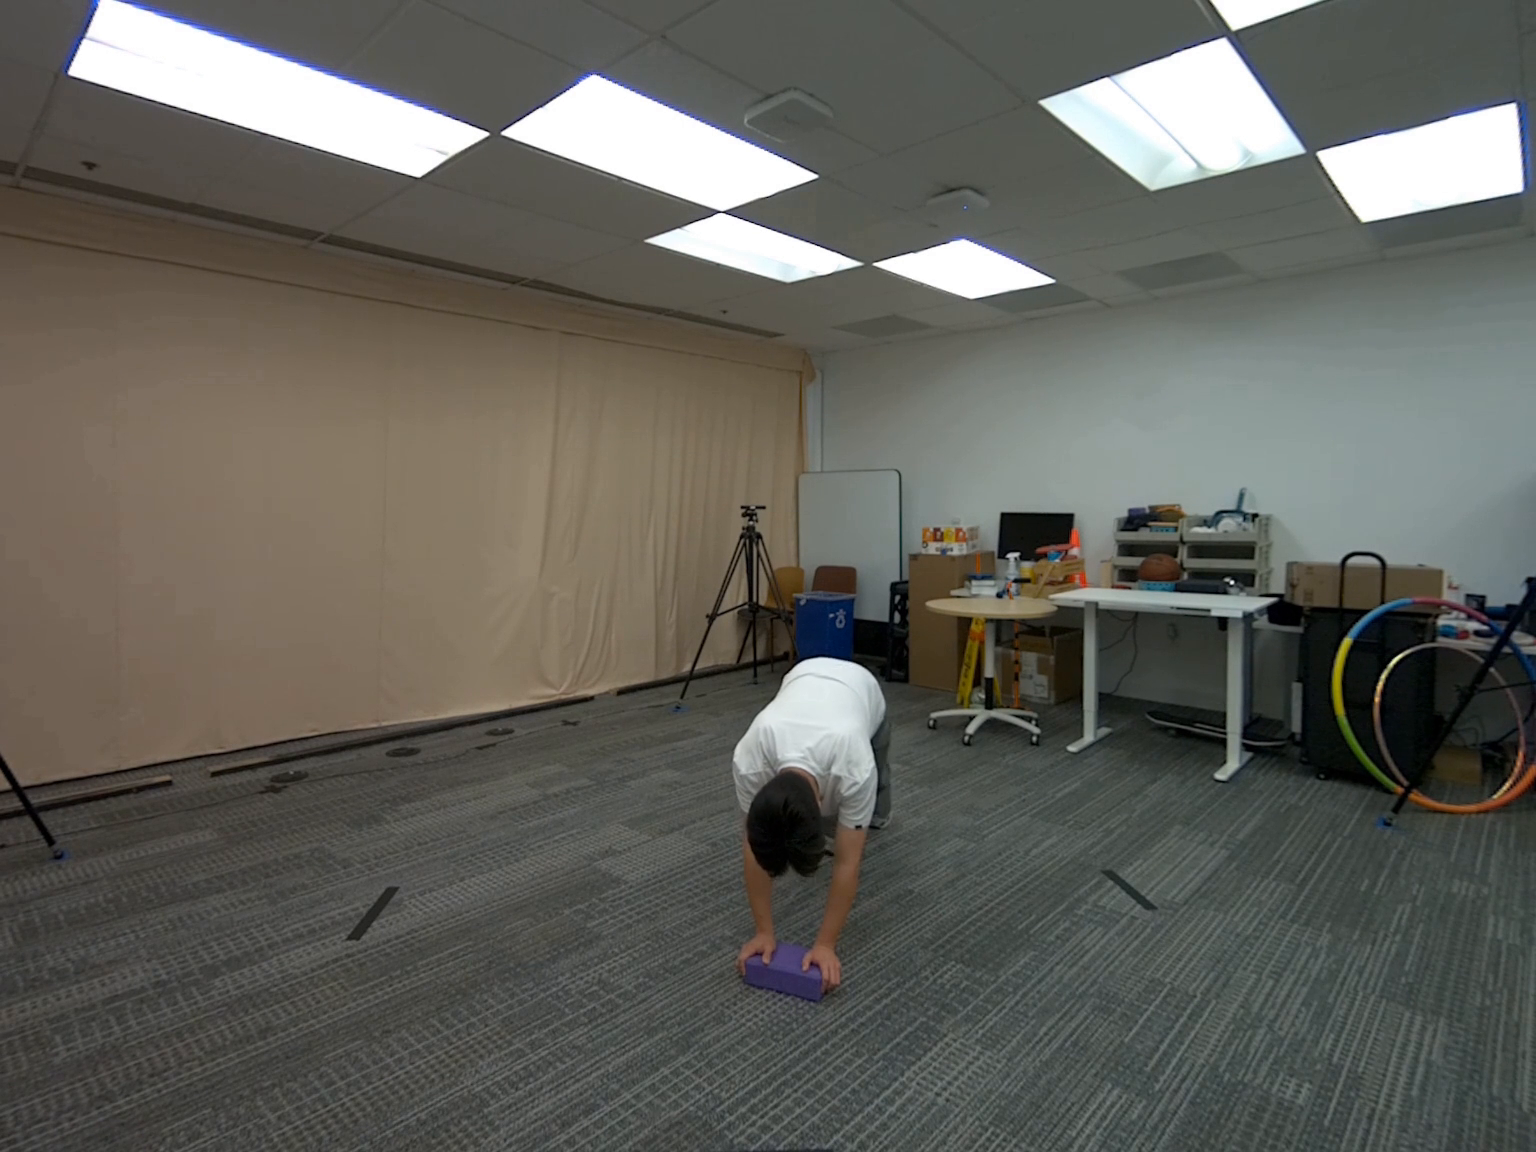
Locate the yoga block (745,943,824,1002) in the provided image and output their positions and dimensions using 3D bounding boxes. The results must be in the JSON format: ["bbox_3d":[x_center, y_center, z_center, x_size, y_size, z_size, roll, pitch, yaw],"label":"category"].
[{"bbox_3d":[0.073,1.155,2.463,0.235,0.076,0.146,3,5,23],"label":"yoga block"}]
